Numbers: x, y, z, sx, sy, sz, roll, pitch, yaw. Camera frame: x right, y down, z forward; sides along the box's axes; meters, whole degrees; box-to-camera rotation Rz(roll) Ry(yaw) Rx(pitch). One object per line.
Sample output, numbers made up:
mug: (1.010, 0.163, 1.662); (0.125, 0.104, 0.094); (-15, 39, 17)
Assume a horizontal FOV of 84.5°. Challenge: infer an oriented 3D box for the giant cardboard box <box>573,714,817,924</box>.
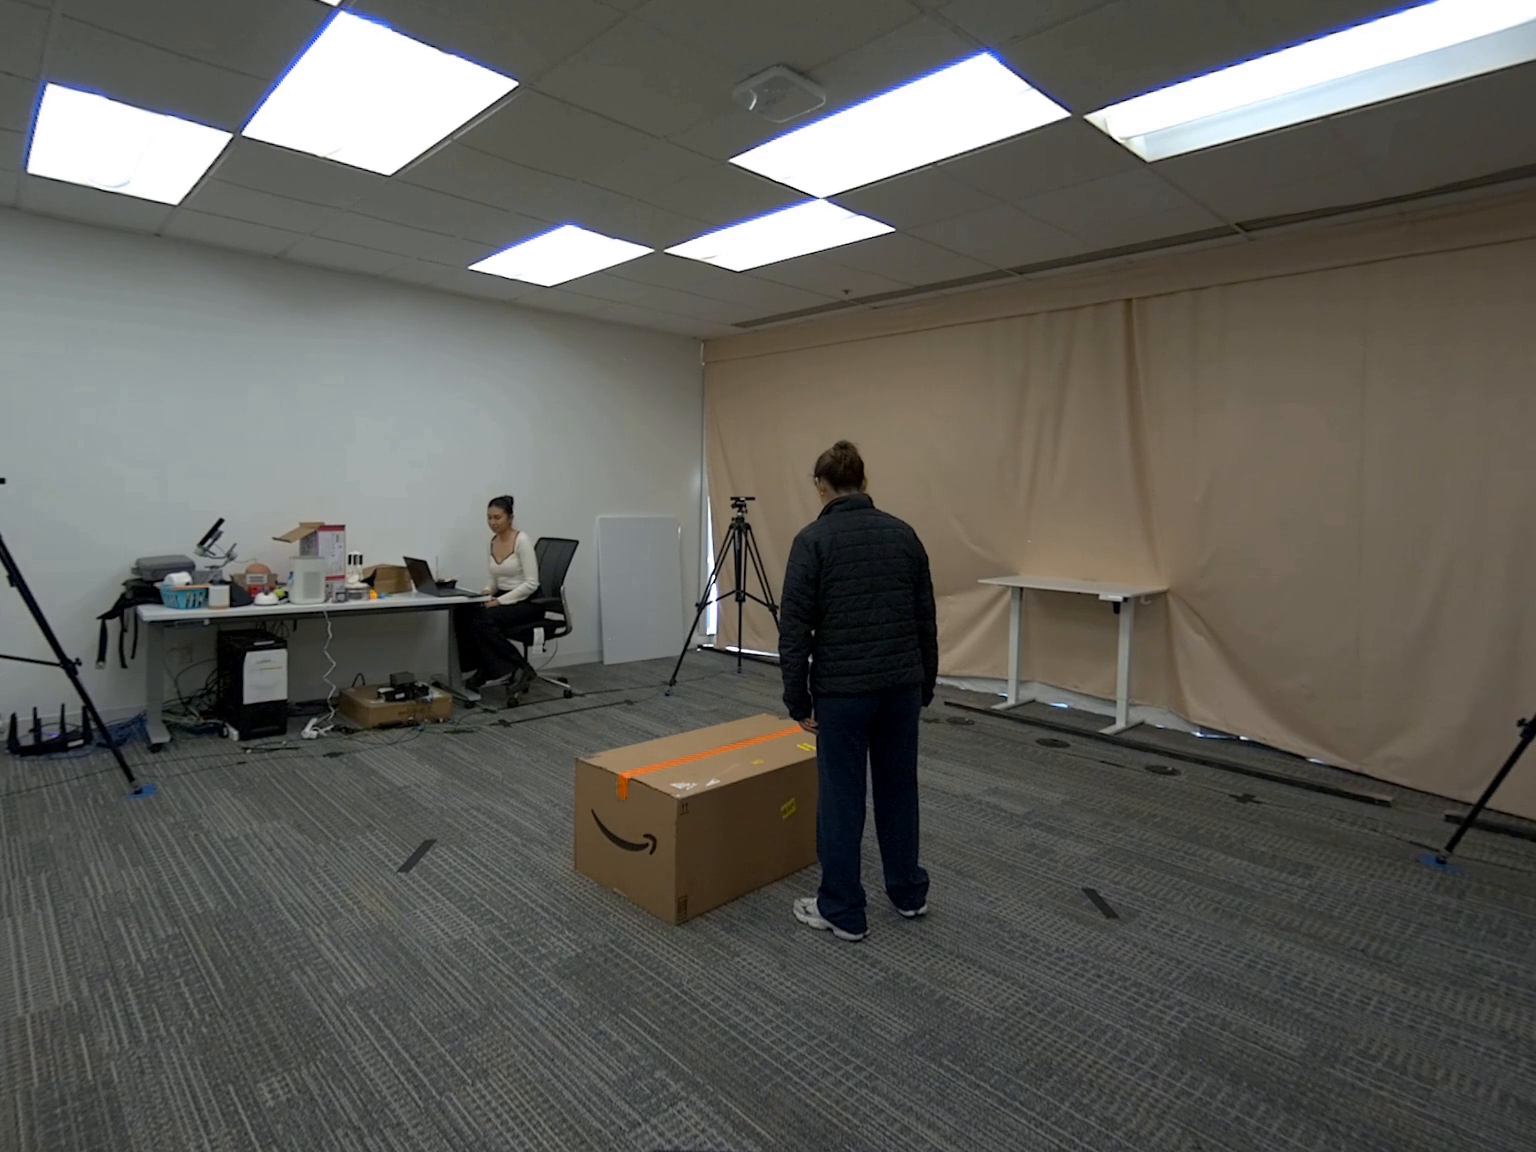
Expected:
giant cardboard box: (-0.166, 0.878, 3.264); (0.592, 0.425, 1.002); (6, 7, 43)
